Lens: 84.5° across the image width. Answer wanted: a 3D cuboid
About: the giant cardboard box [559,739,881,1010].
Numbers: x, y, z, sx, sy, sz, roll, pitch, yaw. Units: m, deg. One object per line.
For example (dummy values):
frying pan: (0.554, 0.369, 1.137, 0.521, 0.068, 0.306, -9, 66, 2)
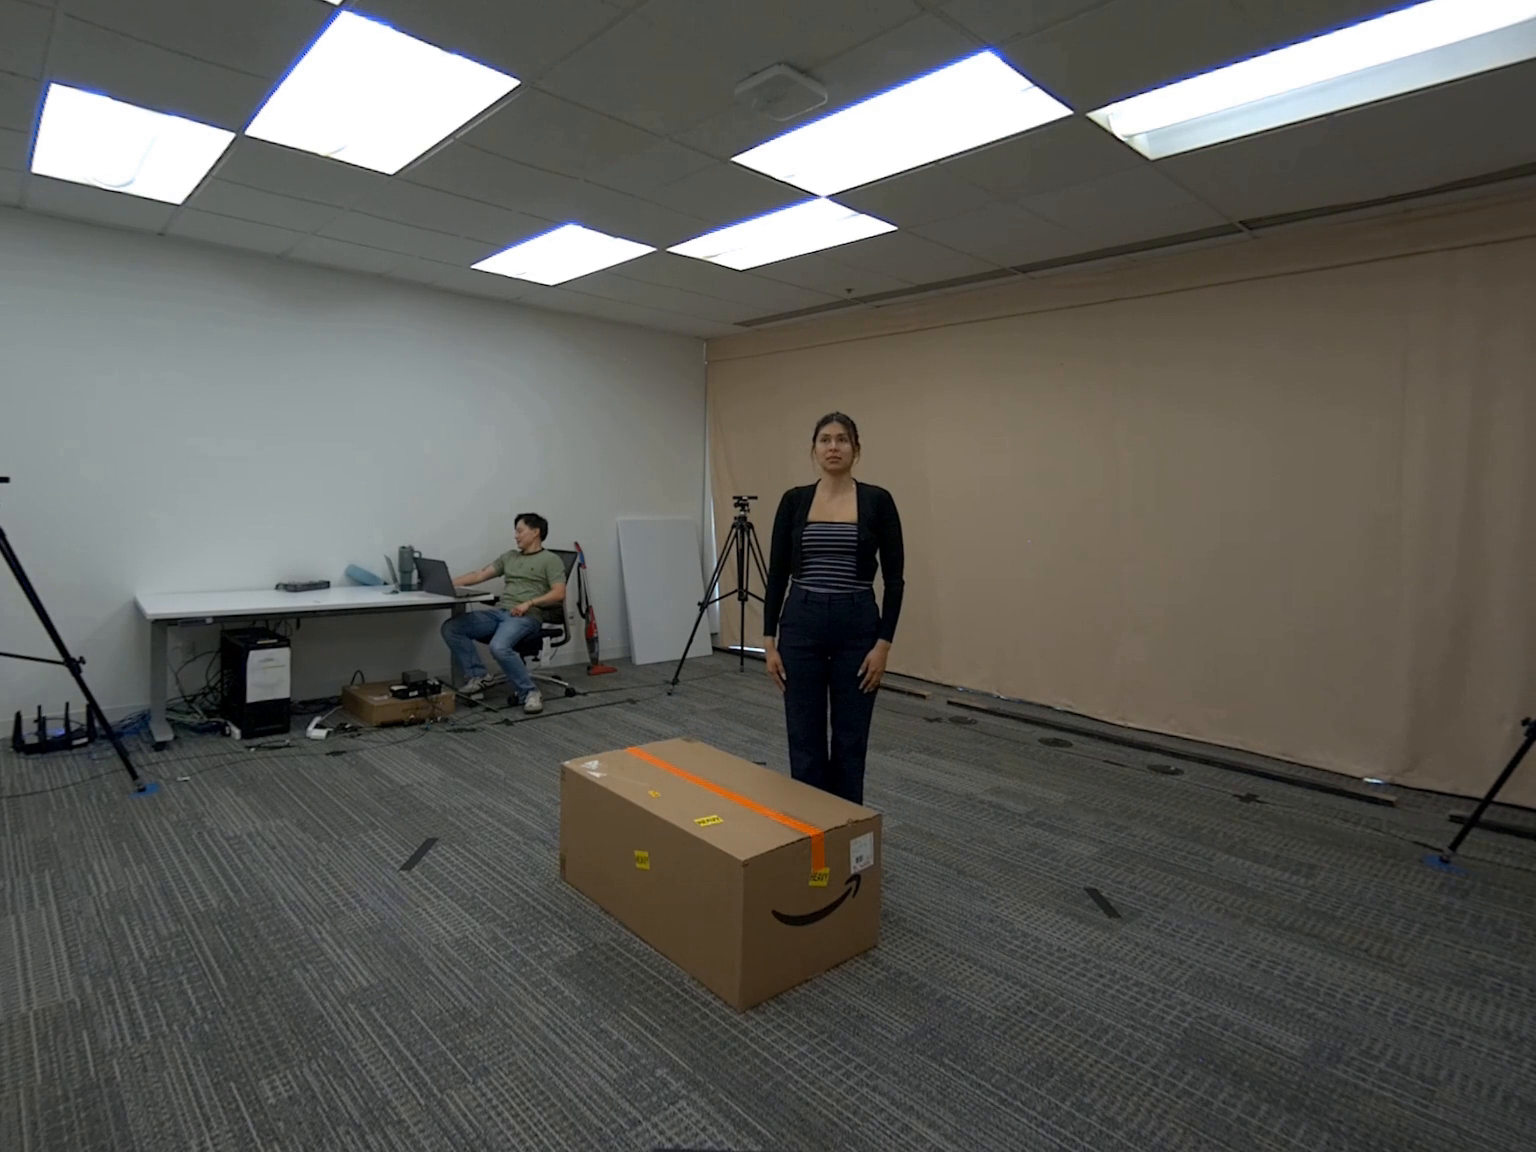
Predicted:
giant cardboard box: (-0.210, 0.915, 2.825, 0.564, 0.425, 1.052, -2, 6, -41)
